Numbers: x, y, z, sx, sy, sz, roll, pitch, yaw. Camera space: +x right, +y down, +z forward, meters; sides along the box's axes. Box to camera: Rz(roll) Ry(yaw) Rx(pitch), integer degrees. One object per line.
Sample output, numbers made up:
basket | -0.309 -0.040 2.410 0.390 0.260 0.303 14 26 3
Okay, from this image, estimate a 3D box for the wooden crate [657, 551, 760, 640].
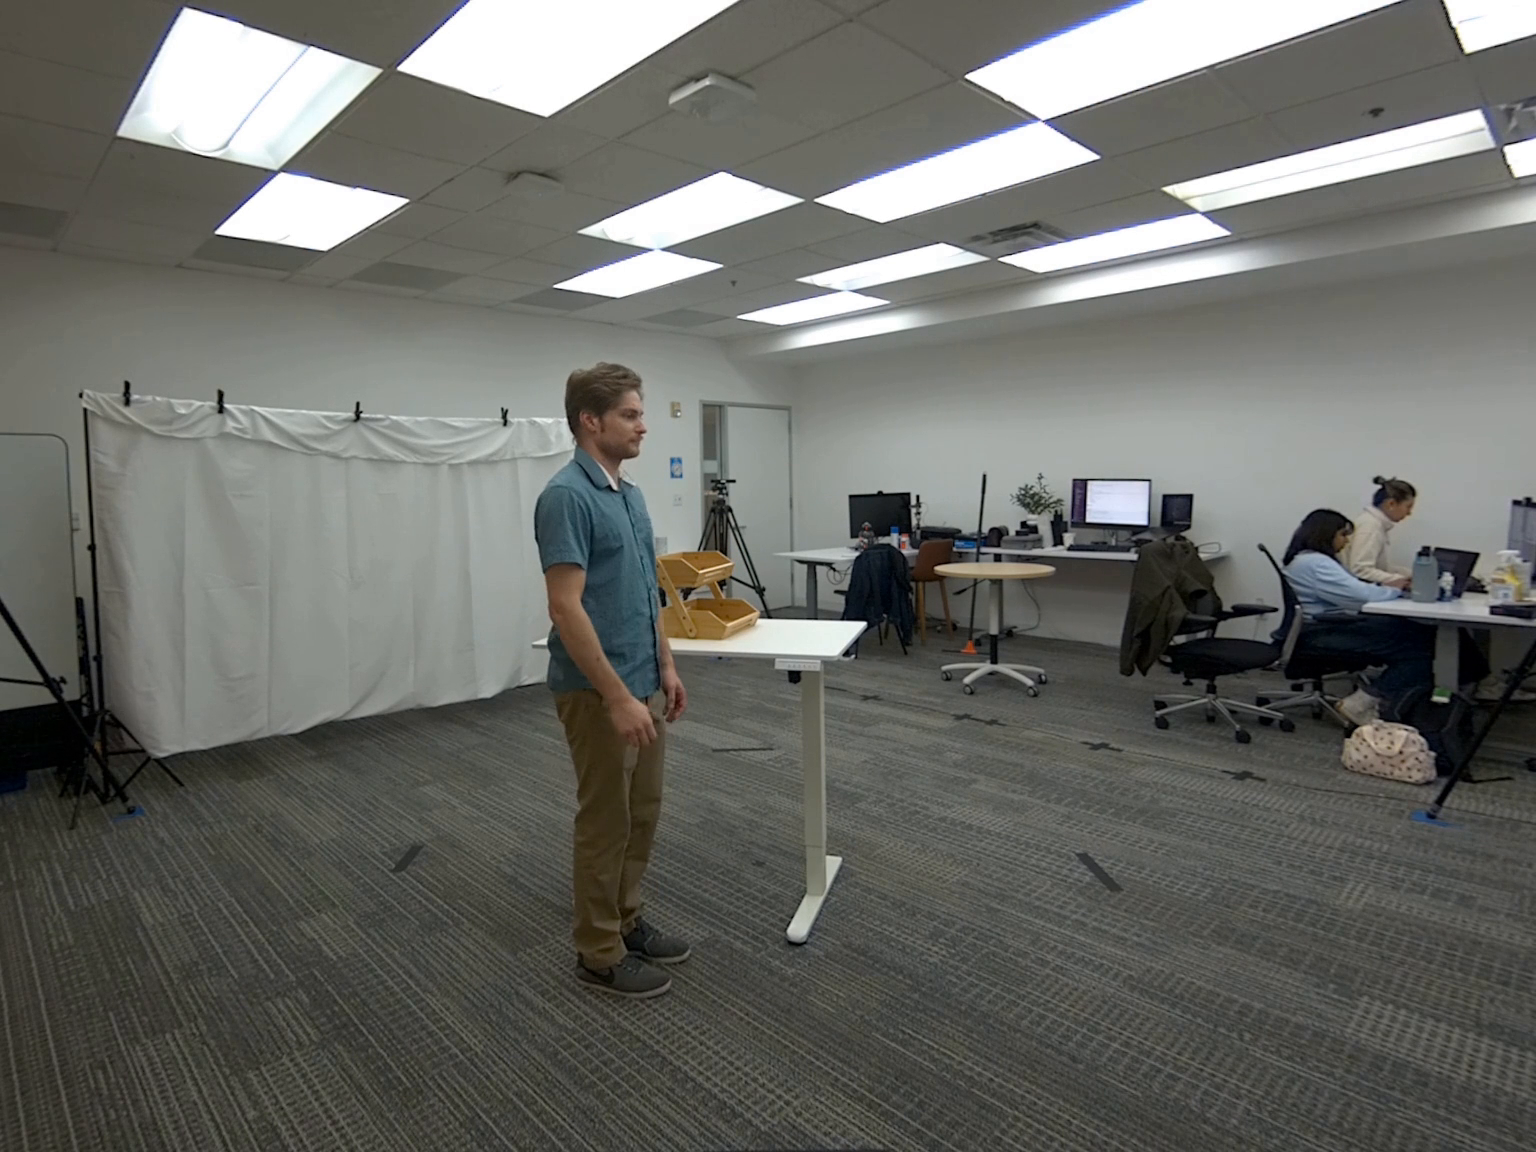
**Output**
wooden crate | -0.217 0.055 2.920 0.308 0.272 0.319 0 5 22
